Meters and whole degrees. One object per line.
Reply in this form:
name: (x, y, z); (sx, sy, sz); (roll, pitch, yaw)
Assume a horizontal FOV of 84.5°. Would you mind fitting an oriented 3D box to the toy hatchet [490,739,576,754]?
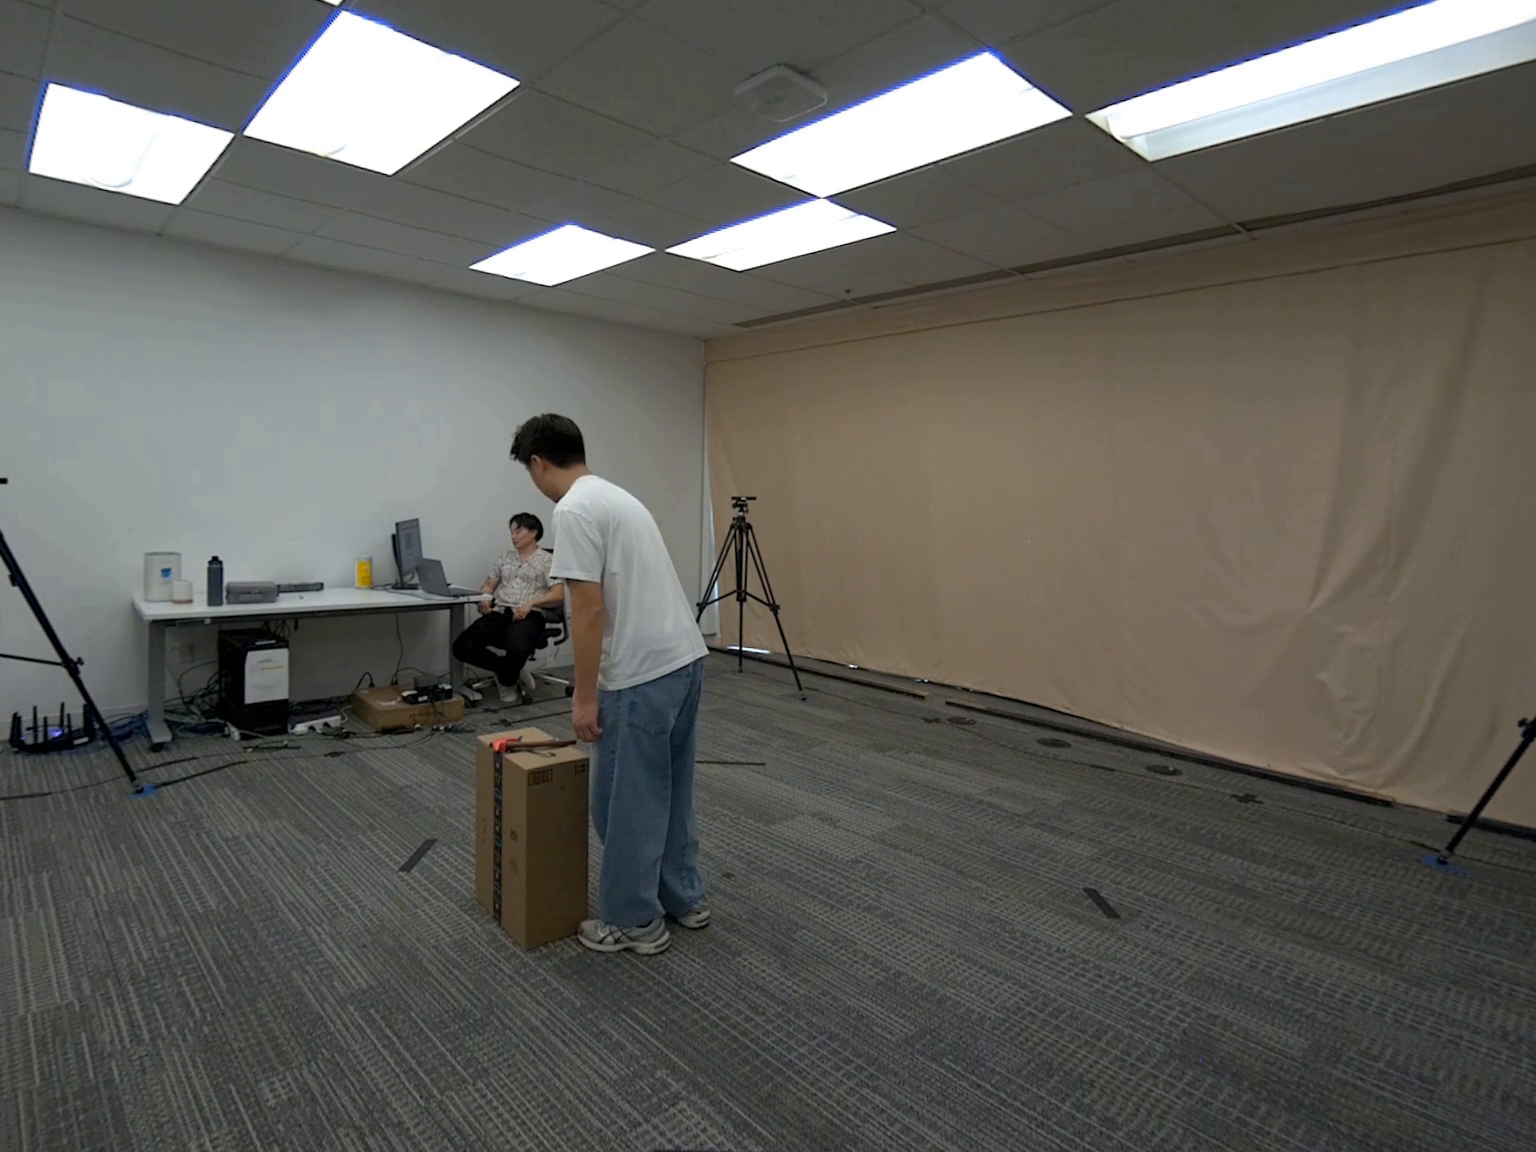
toy hatchet: (-0.777, 0.543, 2.768); (0.265, 0.029, 0.134); (0, 2, -28)
